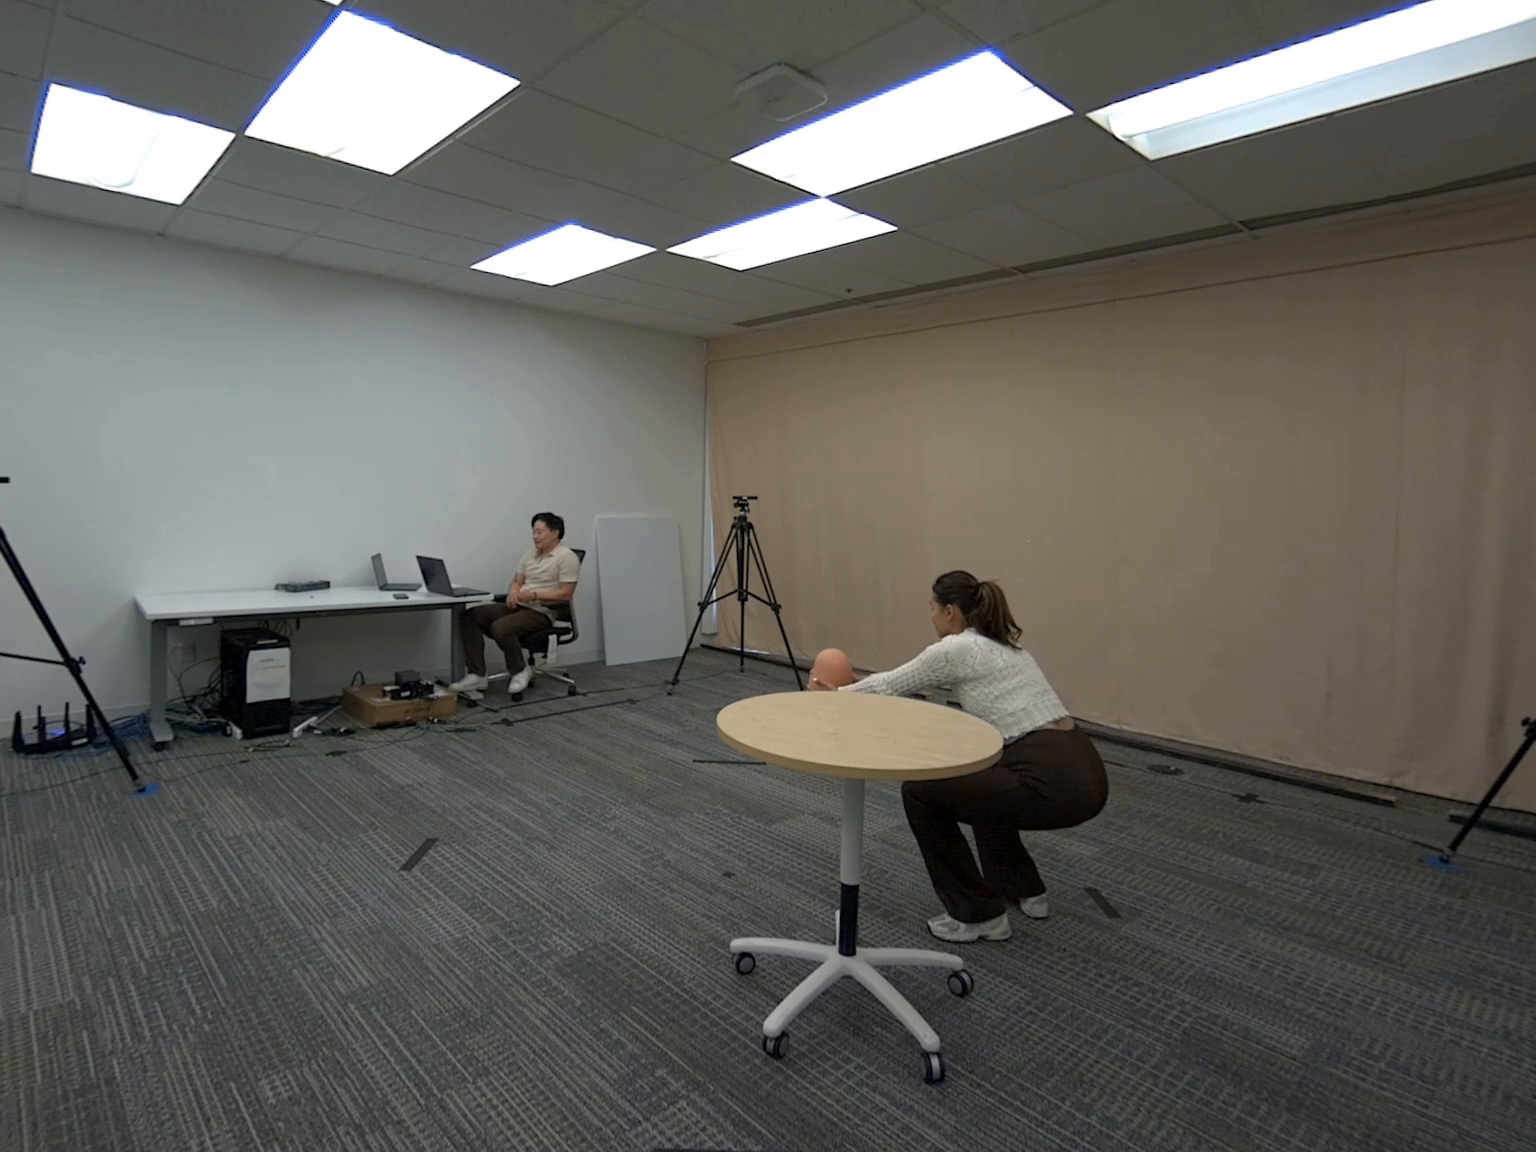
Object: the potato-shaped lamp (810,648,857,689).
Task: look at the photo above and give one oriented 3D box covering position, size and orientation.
[{"bbox_3d":[0.240,0.382,3.296,0.161,0.197,0.175,-5,4,-40],"label":"potato-shaped lamp"}]
